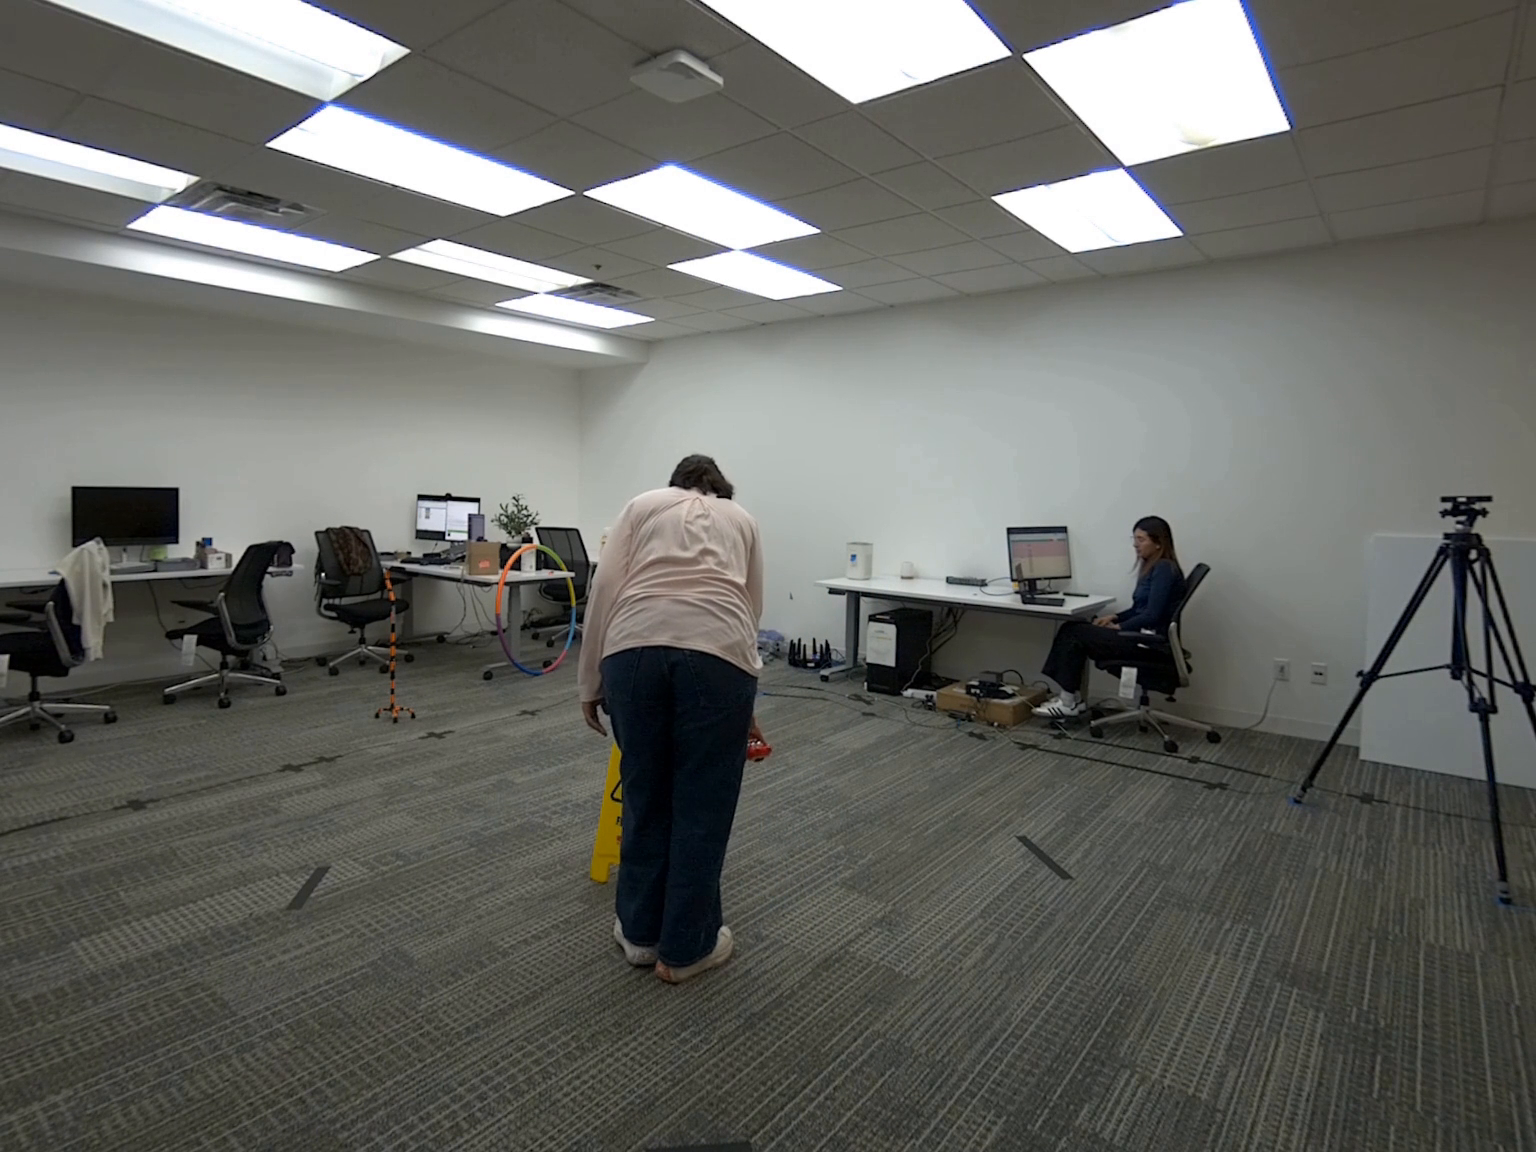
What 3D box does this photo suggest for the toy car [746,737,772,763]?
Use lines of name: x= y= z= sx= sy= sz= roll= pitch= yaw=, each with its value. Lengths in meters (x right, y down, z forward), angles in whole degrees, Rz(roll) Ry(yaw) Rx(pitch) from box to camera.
toy car: x=-0.111 y=0.554 z=2.715 sx=0.260 sy=0.084 sz=0.126 roll=-13 pitch=-13 yaw=42
